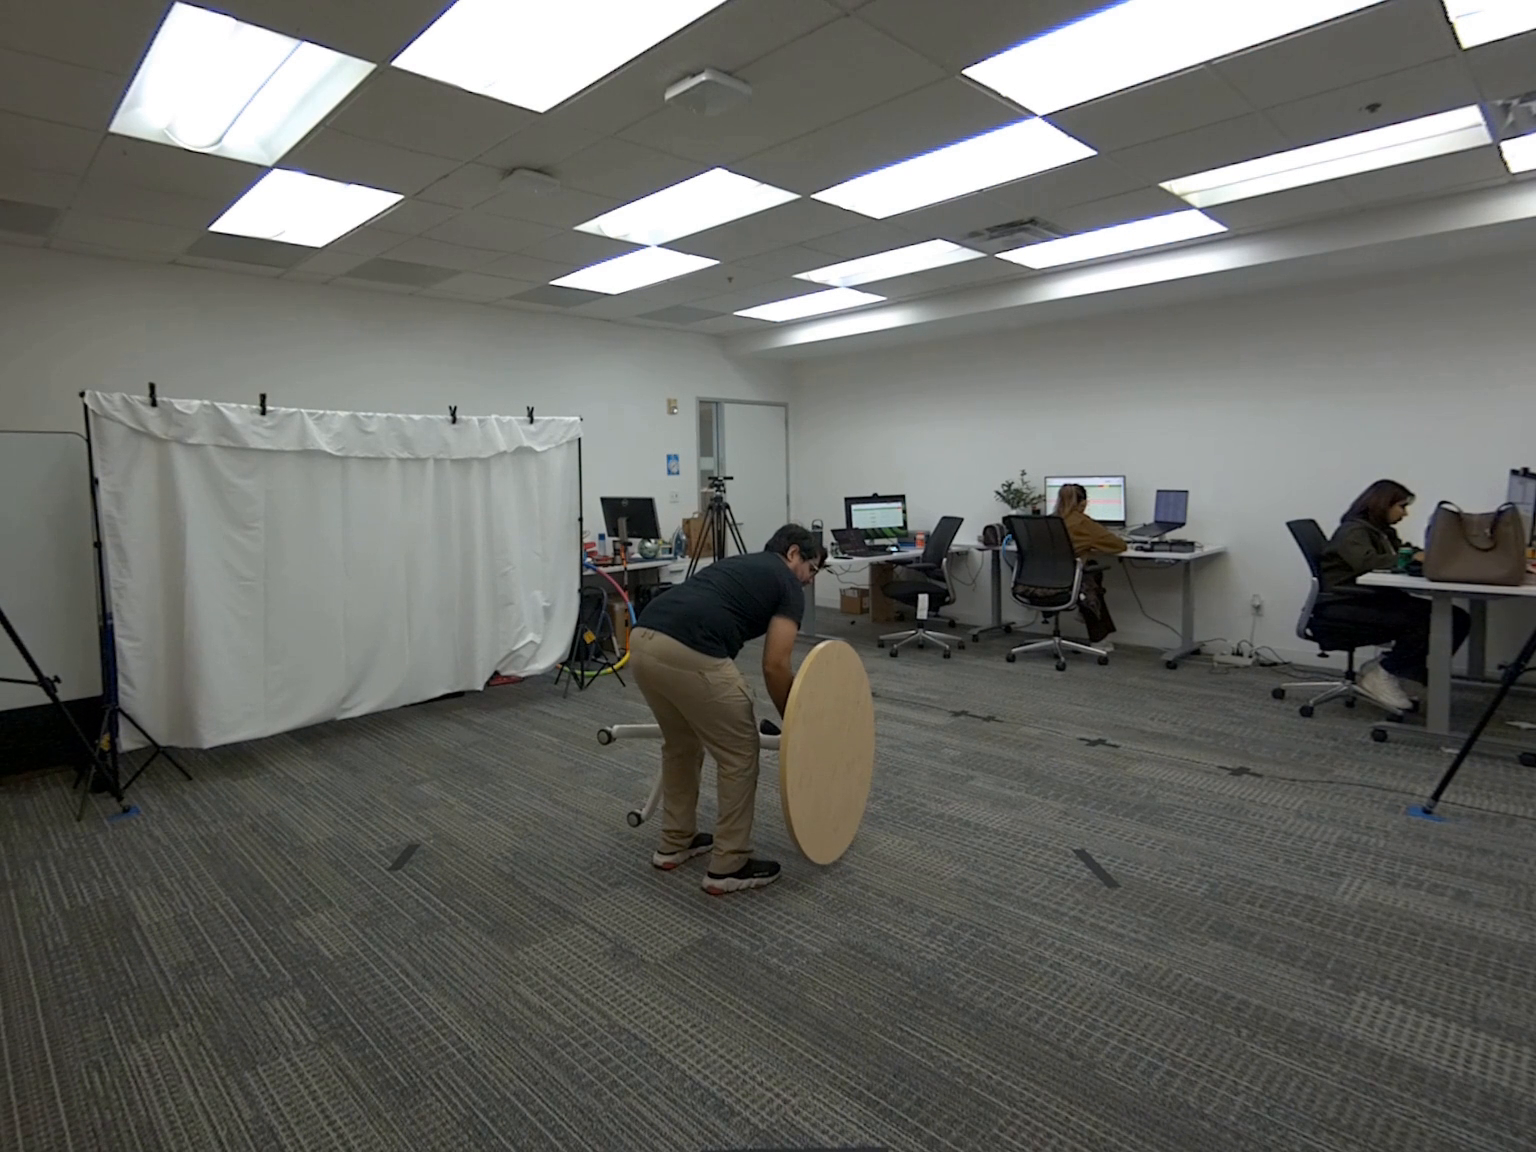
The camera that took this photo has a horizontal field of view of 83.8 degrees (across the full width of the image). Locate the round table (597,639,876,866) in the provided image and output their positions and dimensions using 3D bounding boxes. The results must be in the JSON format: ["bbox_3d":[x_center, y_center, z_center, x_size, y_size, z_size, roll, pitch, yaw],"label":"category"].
[{"bbox_3d":[-0.111,0.604,3.227,0.806,0.782,0.768,0,5,30],"label":"round table"}]
